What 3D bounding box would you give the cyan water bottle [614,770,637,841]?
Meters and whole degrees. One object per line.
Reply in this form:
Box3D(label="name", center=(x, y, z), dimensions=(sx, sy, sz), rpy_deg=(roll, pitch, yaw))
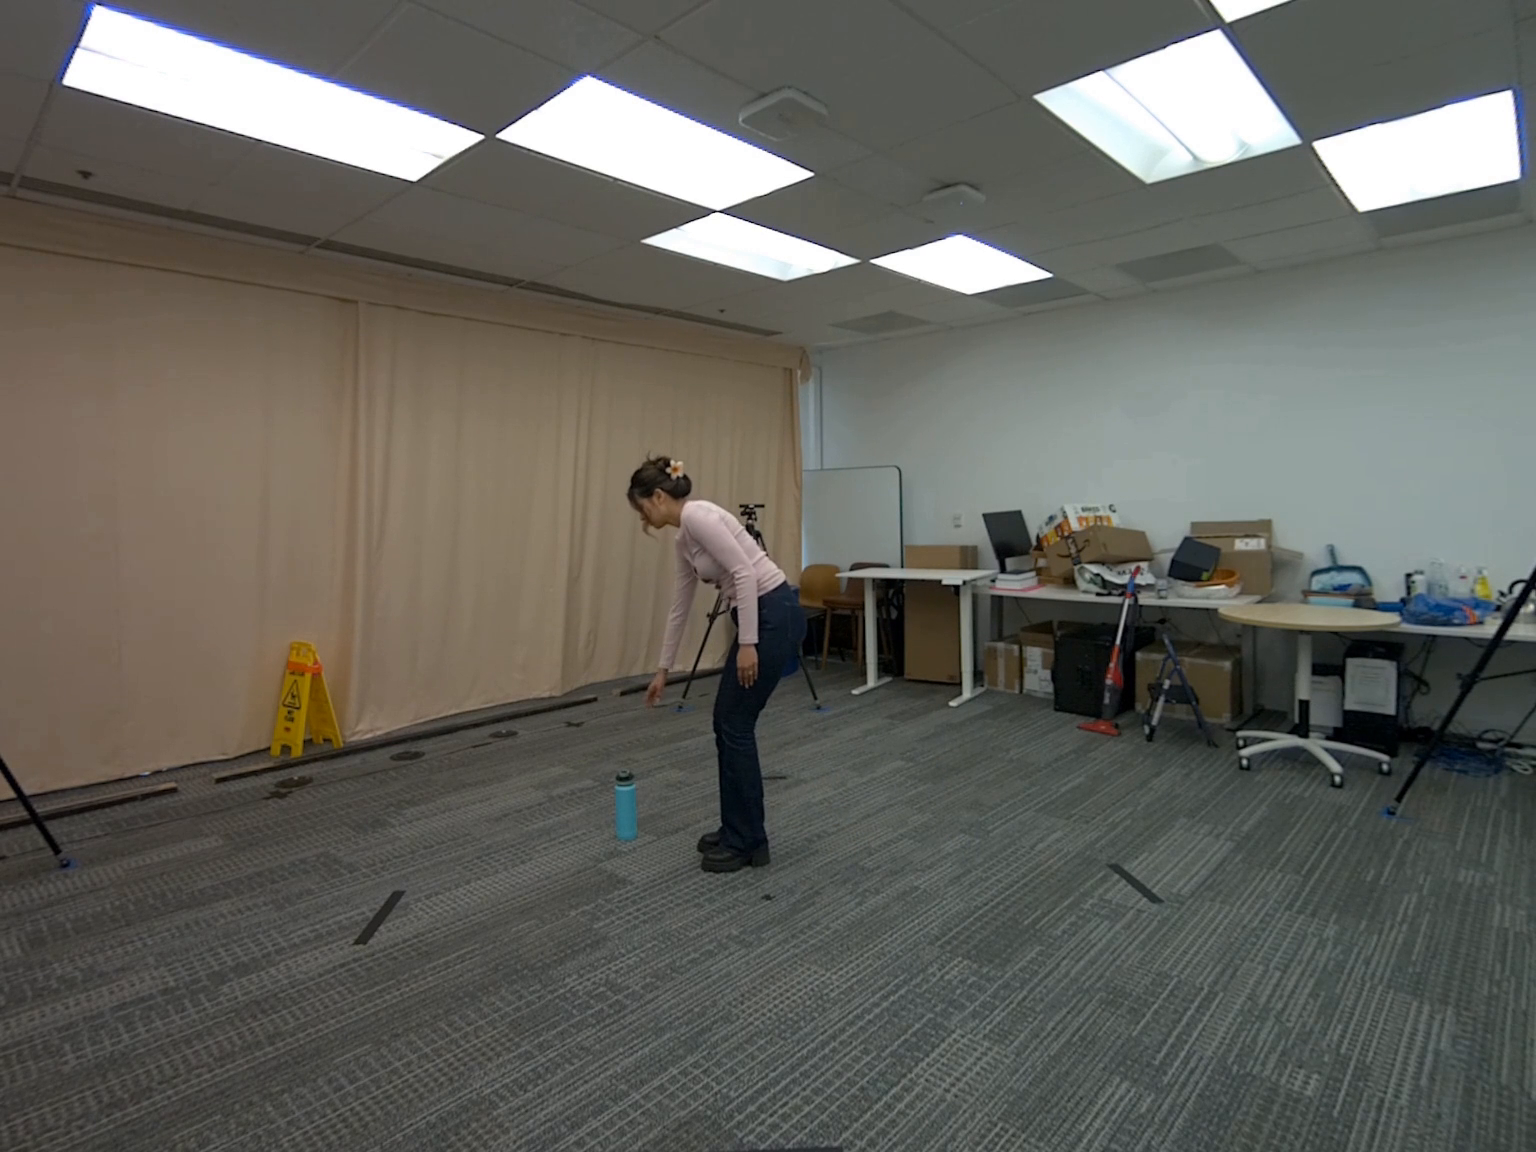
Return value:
Box3D(label="cyan water bottle", center=(-0.607, 0.967, 3.565), dimensions=(0.092, 0.283, 0.092), rpy_deg=(-4, 2, -2))
